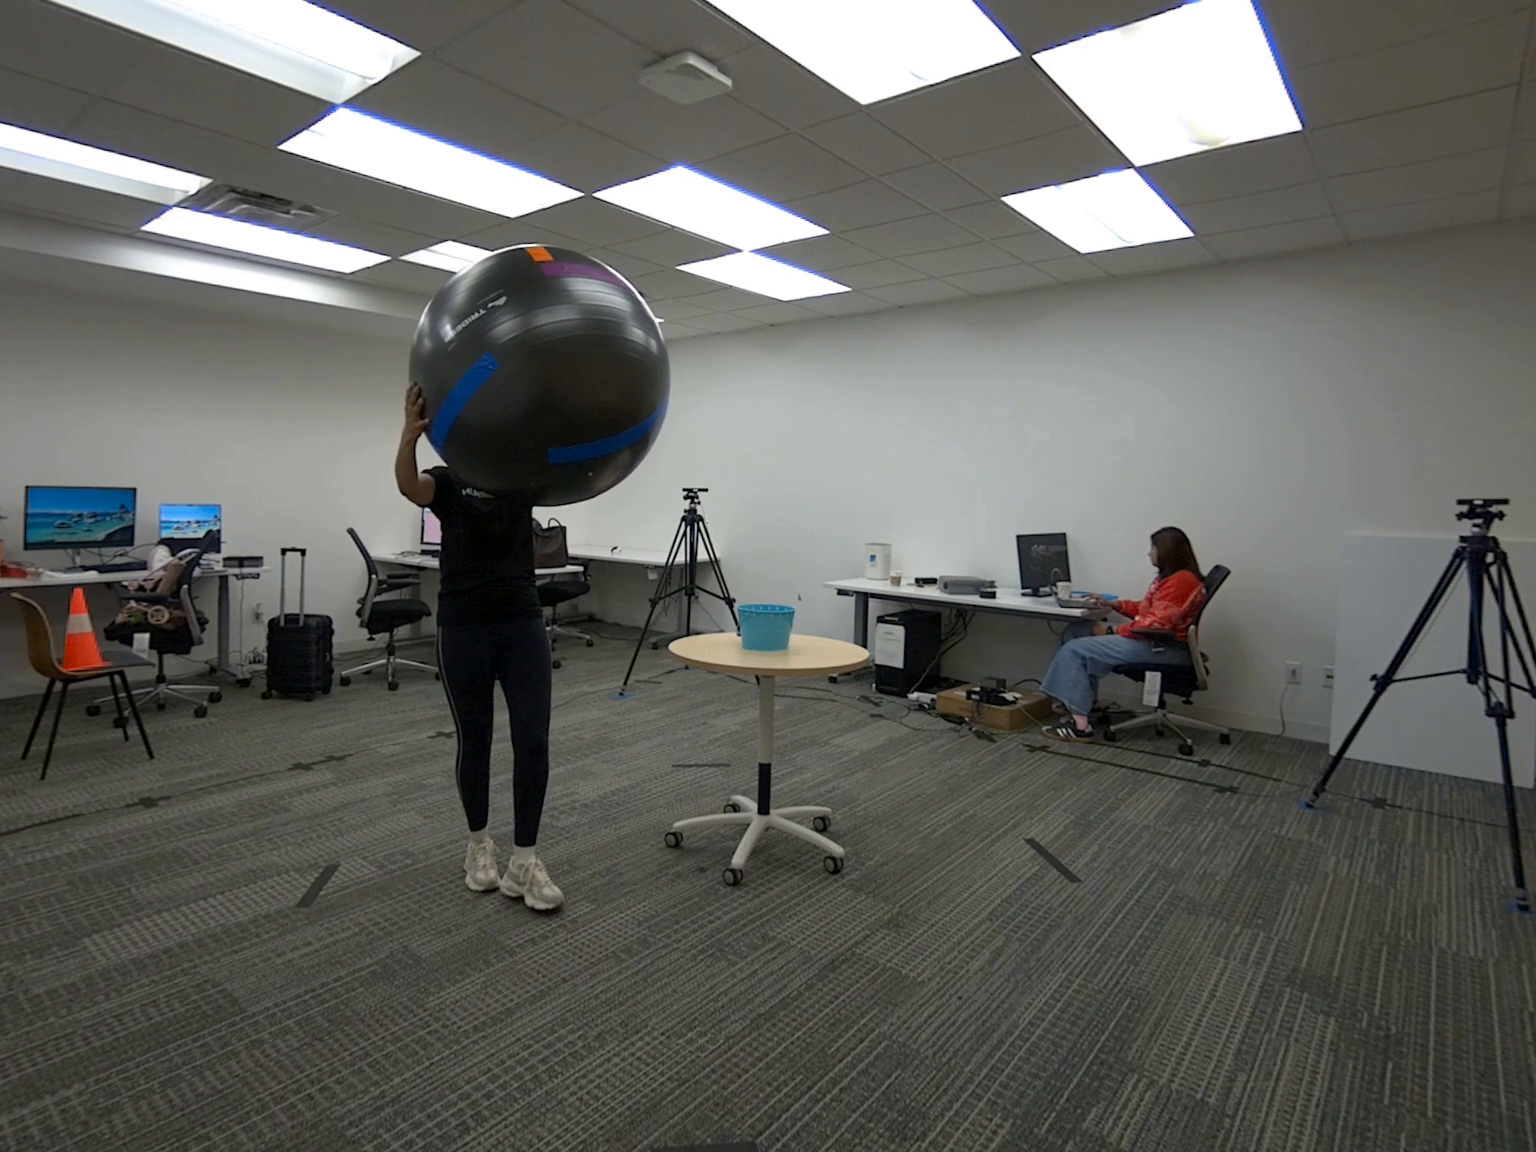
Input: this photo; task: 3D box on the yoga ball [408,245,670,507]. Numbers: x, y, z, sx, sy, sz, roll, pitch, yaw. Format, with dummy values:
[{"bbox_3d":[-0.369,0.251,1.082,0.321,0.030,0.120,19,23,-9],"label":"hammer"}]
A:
[{"bbox_3d":[-0.681,-0.582,2.511,0.757,0.756,0.762,1,4,-2],"label":"yoga ball"}]
